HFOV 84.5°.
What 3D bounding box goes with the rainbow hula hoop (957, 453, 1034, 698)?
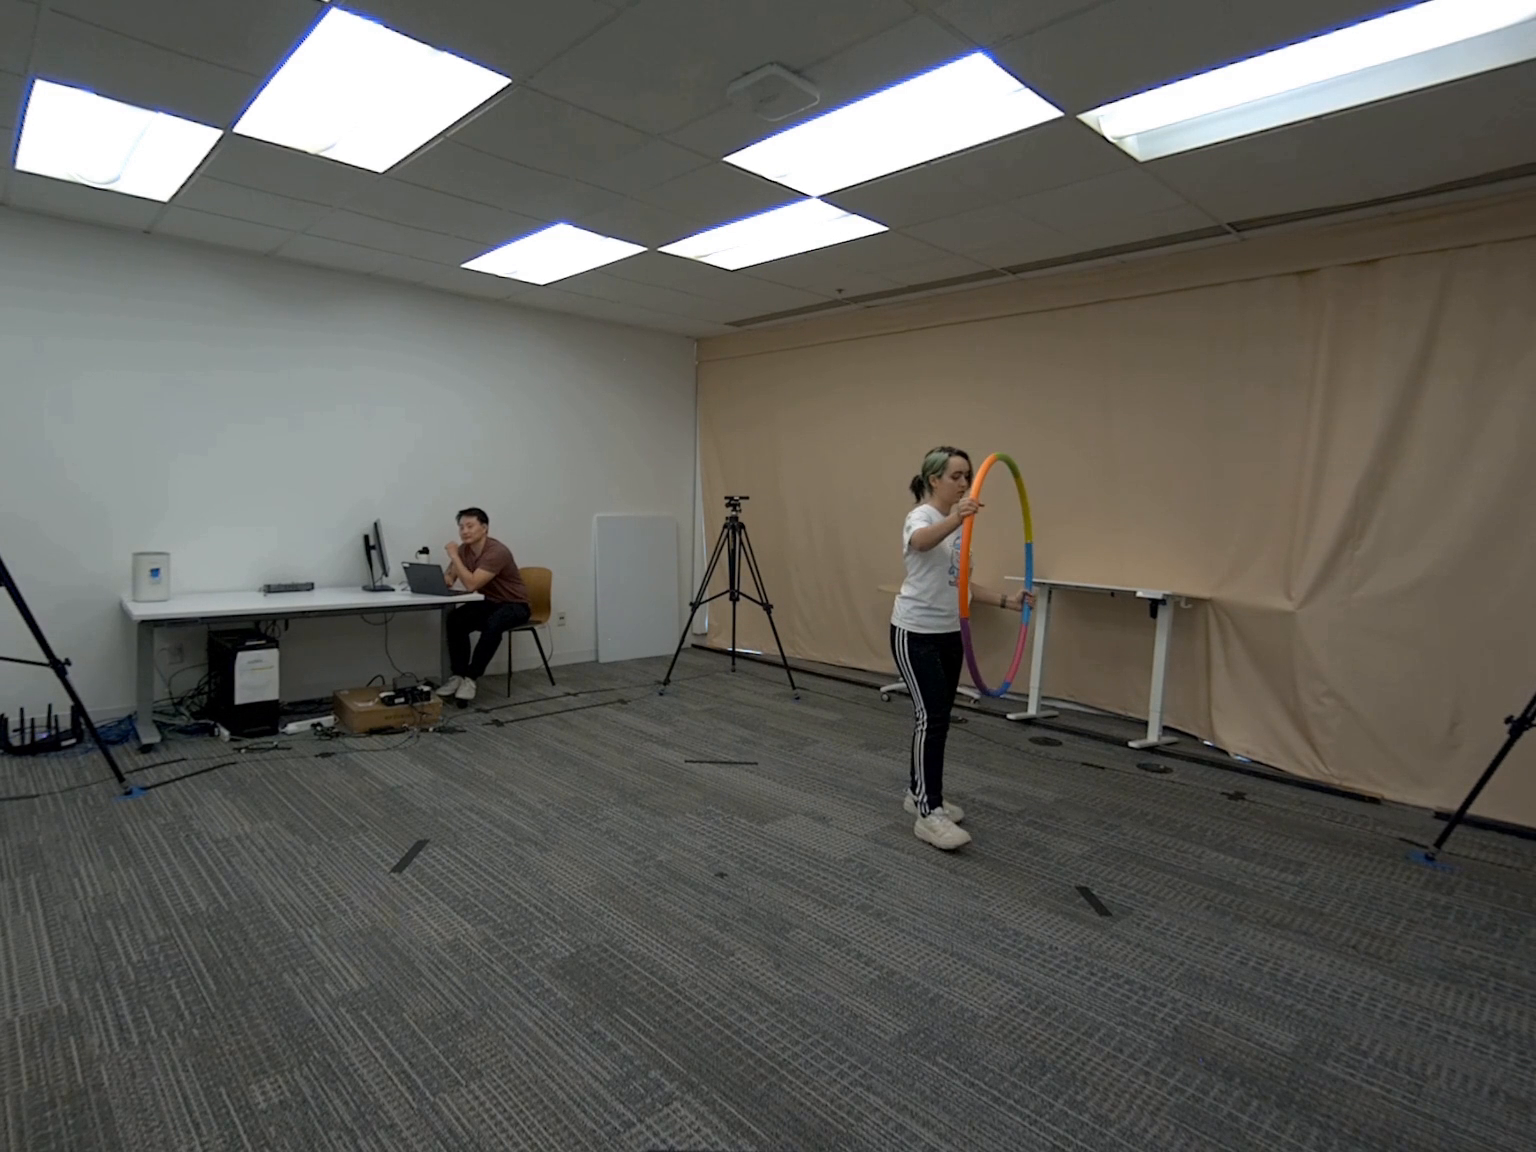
[{"bbox_3d":[0.919,-0.003,3.374,0.036,0.977,0.959,1,4,31],"label":"rainbow hula hoop"}]
